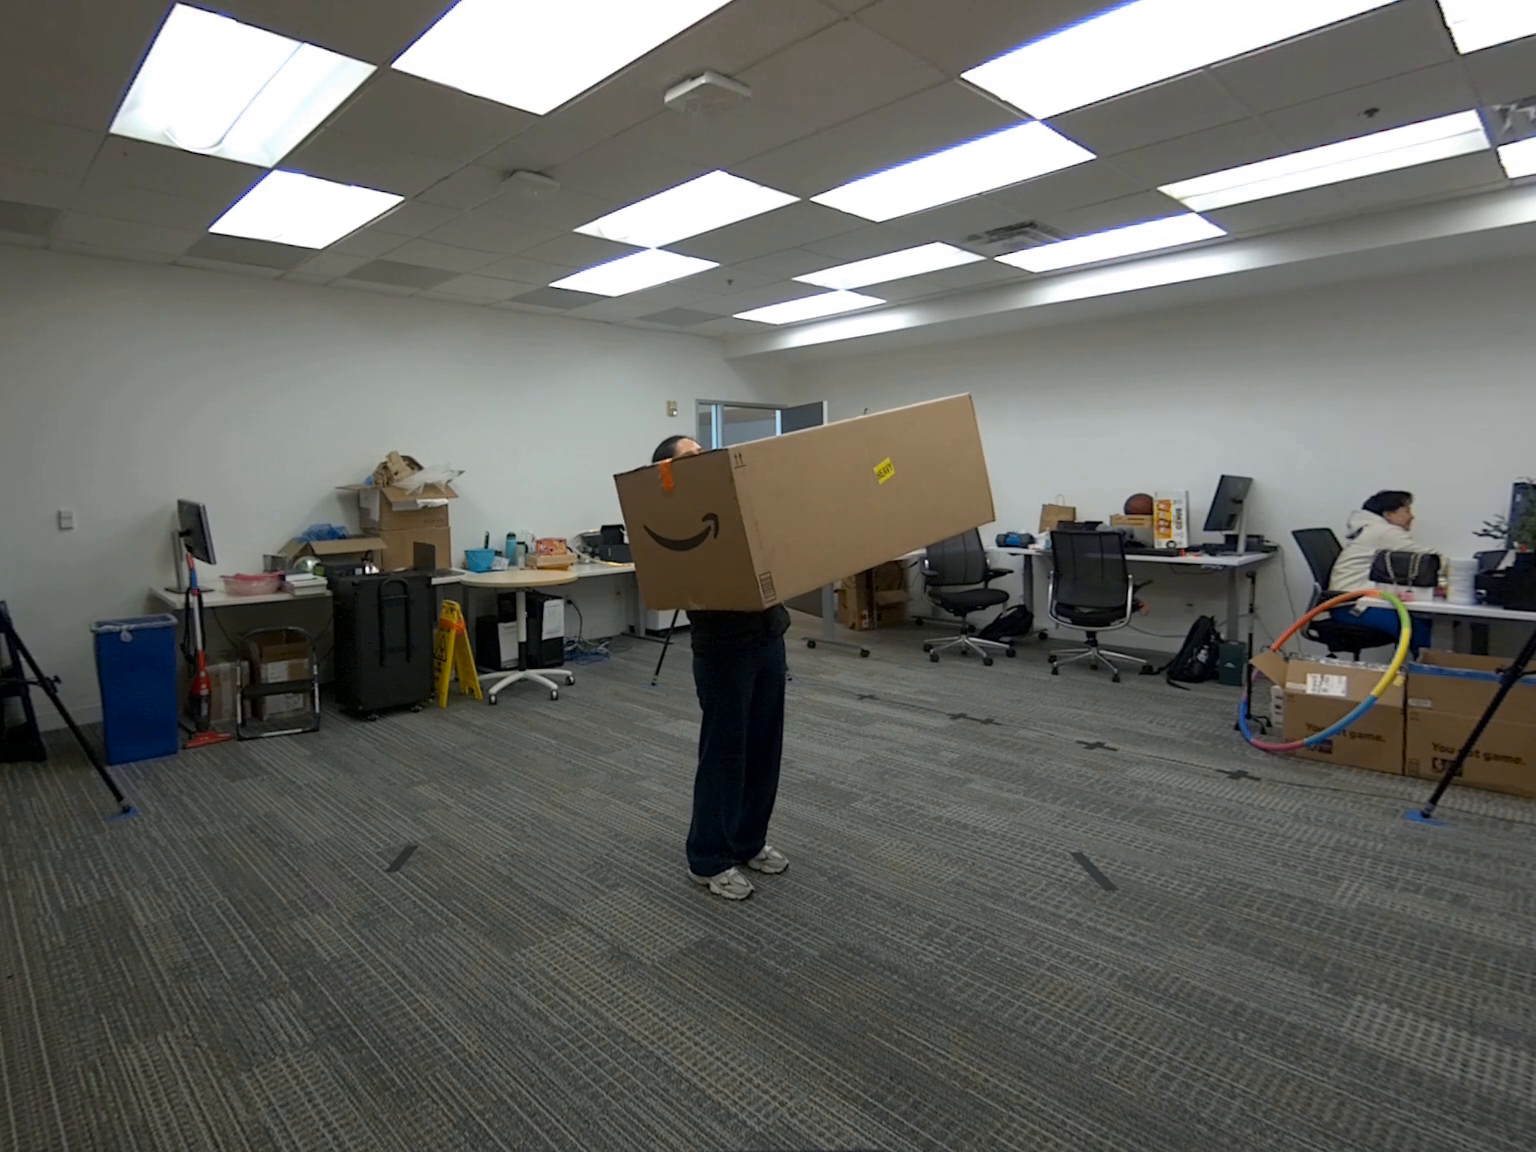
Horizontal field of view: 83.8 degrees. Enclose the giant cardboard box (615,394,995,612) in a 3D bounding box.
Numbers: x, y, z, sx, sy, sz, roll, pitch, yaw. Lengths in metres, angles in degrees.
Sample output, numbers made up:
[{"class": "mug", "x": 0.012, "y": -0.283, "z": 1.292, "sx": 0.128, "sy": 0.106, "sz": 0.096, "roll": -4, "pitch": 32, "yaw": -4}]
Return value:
[{"class": "giant cardboard box", "x": 0.134, "y": -0.241, "z": 2.689, "sx": 1.007, "sy": 0.423, "sz": 0.593, "roll": -19, "pitch": 10, "yaw": -38}]
